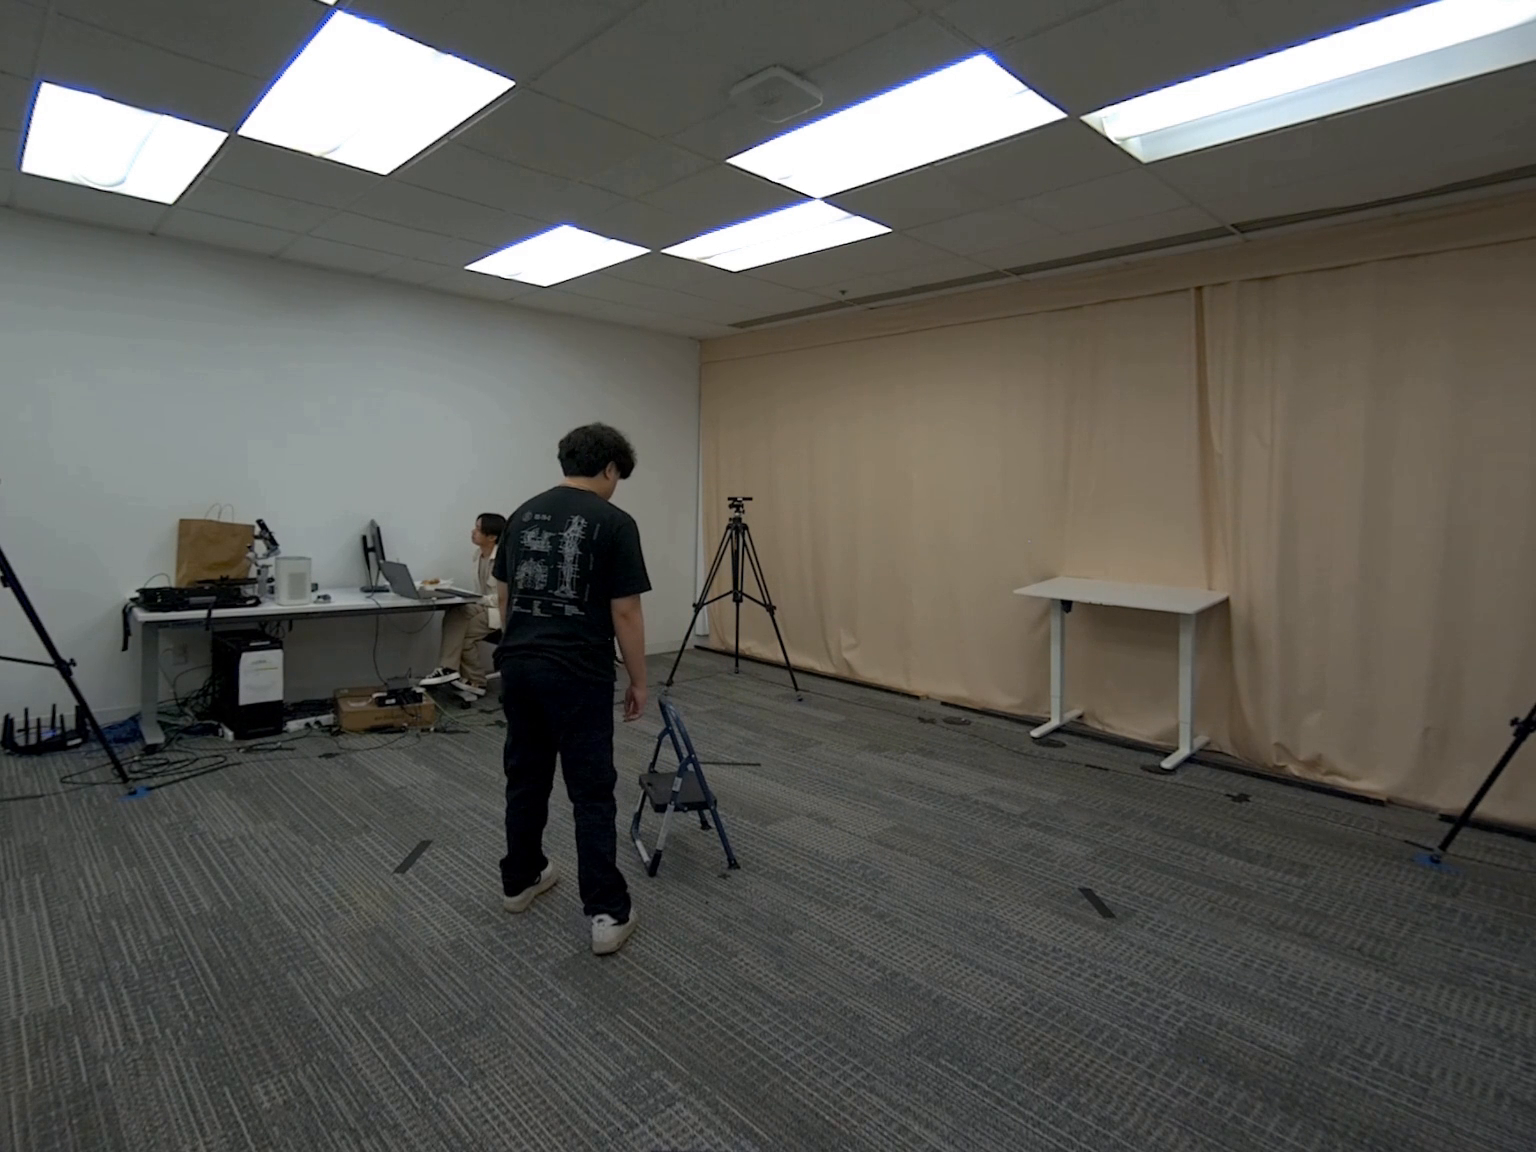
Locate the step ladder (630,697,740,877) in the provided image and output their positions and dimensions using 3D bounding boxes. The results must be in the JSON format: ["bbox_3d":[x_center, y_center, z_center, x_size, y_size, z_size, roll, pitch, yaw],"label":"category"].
[{"bbox_3d":[-0.338,0.781,3.305,0.344,0.605,0.438,0,3,-19],"label":"step ladder"}]
